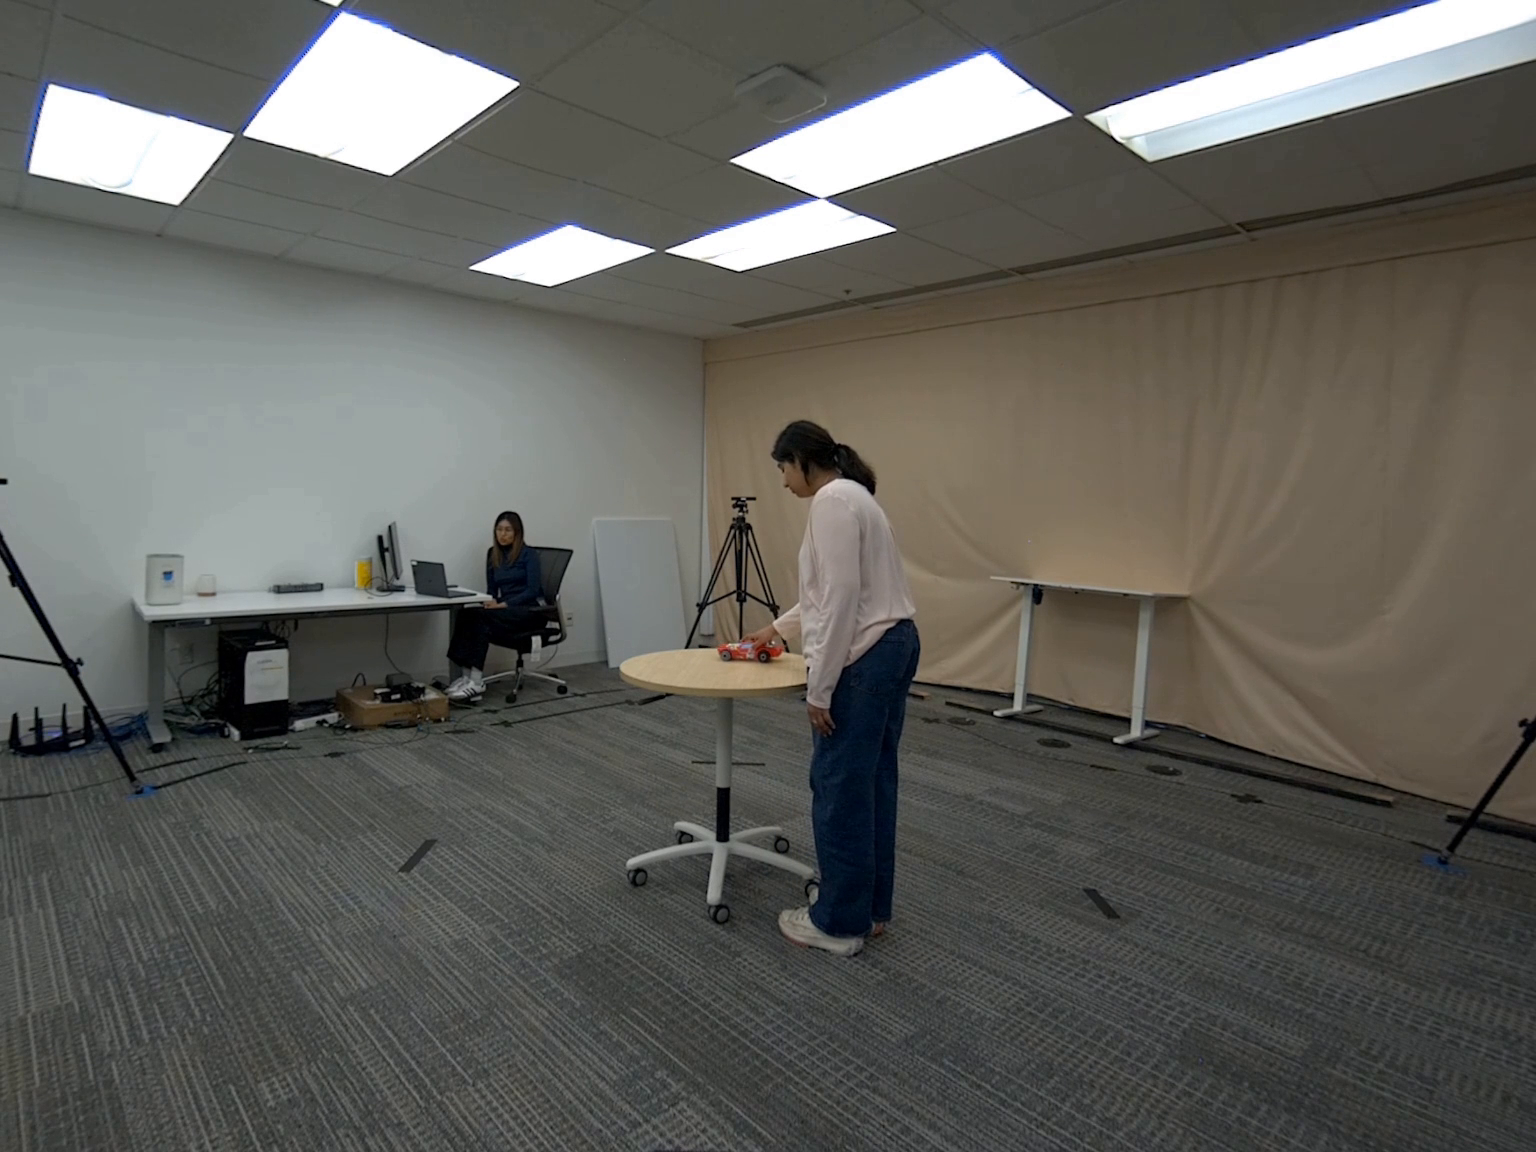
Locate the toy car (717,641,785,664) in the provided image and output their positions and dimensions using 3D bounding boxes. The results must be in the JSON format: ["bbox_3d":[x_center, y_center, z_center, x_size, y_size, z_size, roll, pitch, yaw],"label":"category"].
[{"bbox_3d":[-0.067,0.287,3.179,0.256,0.083,0.129,-9,1,10],"label":"toy car"}]
